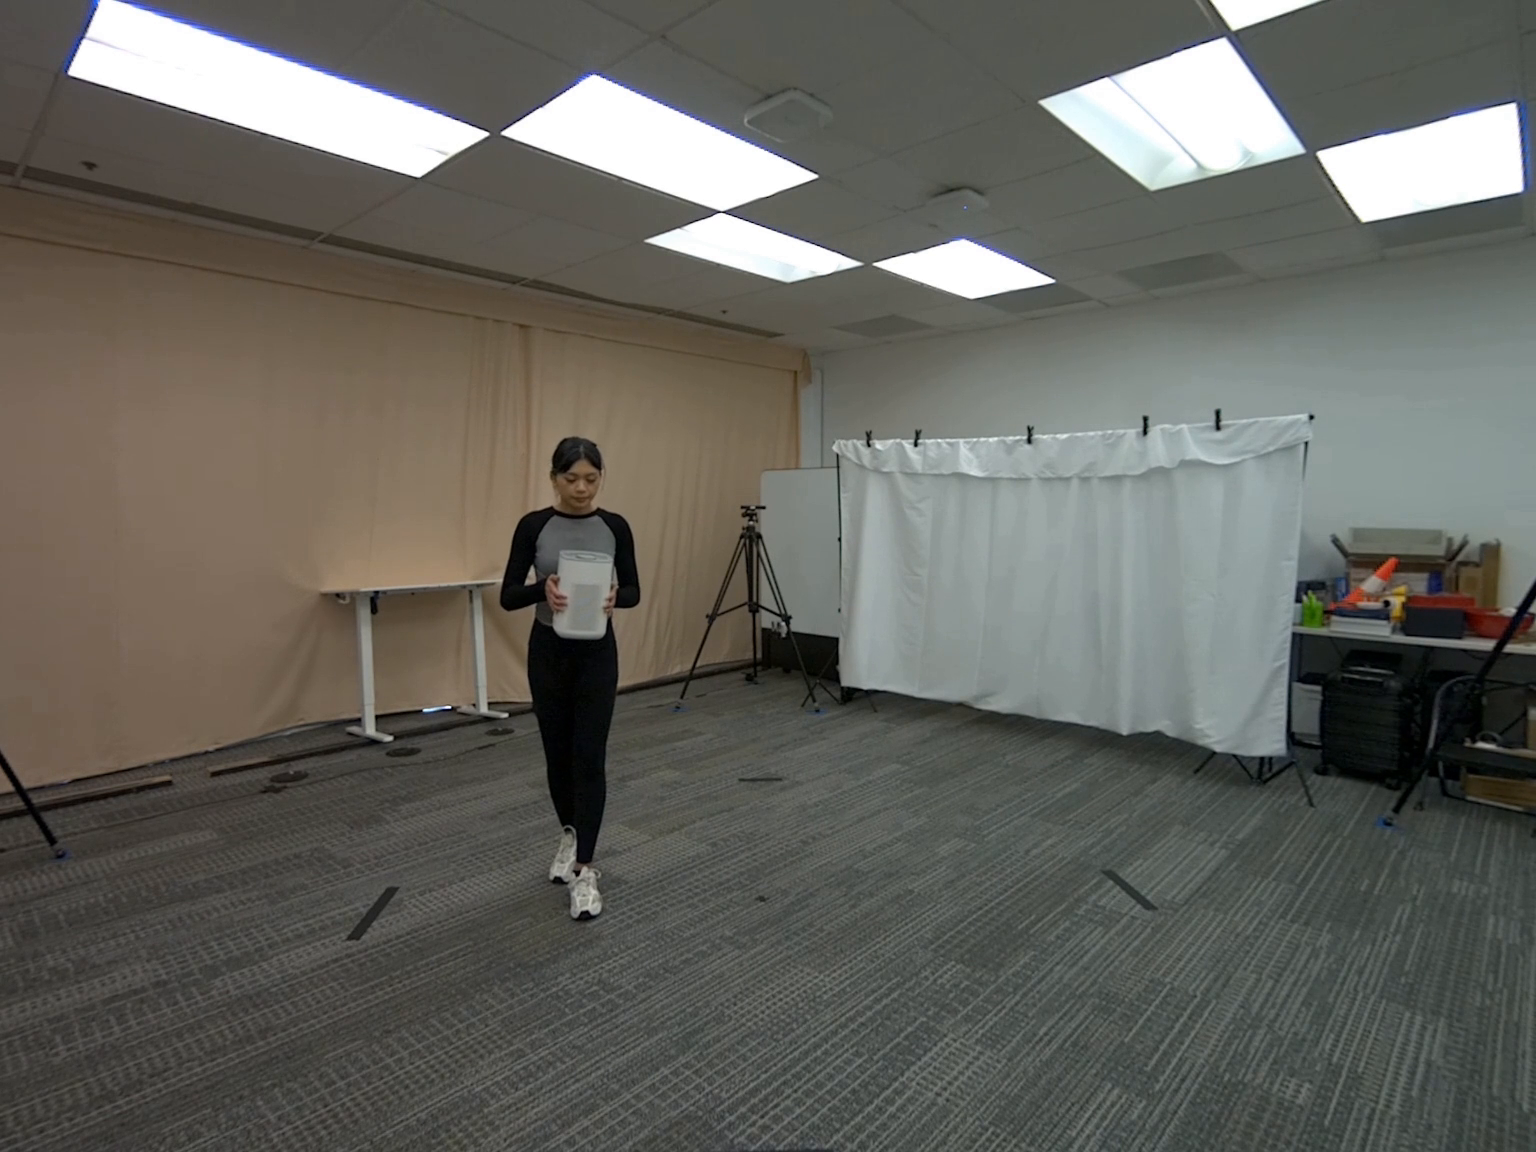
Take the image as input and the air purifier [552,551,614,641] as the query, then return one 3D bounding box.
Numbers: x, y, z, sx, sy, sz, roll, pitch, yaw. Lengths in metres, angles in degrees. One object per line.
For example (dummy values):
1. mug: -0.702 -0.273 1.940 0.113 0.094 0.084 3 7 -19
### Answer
1. air purifier: -0.621 0.061 2.766 0.169 0.264 0.174 6 8 -15
